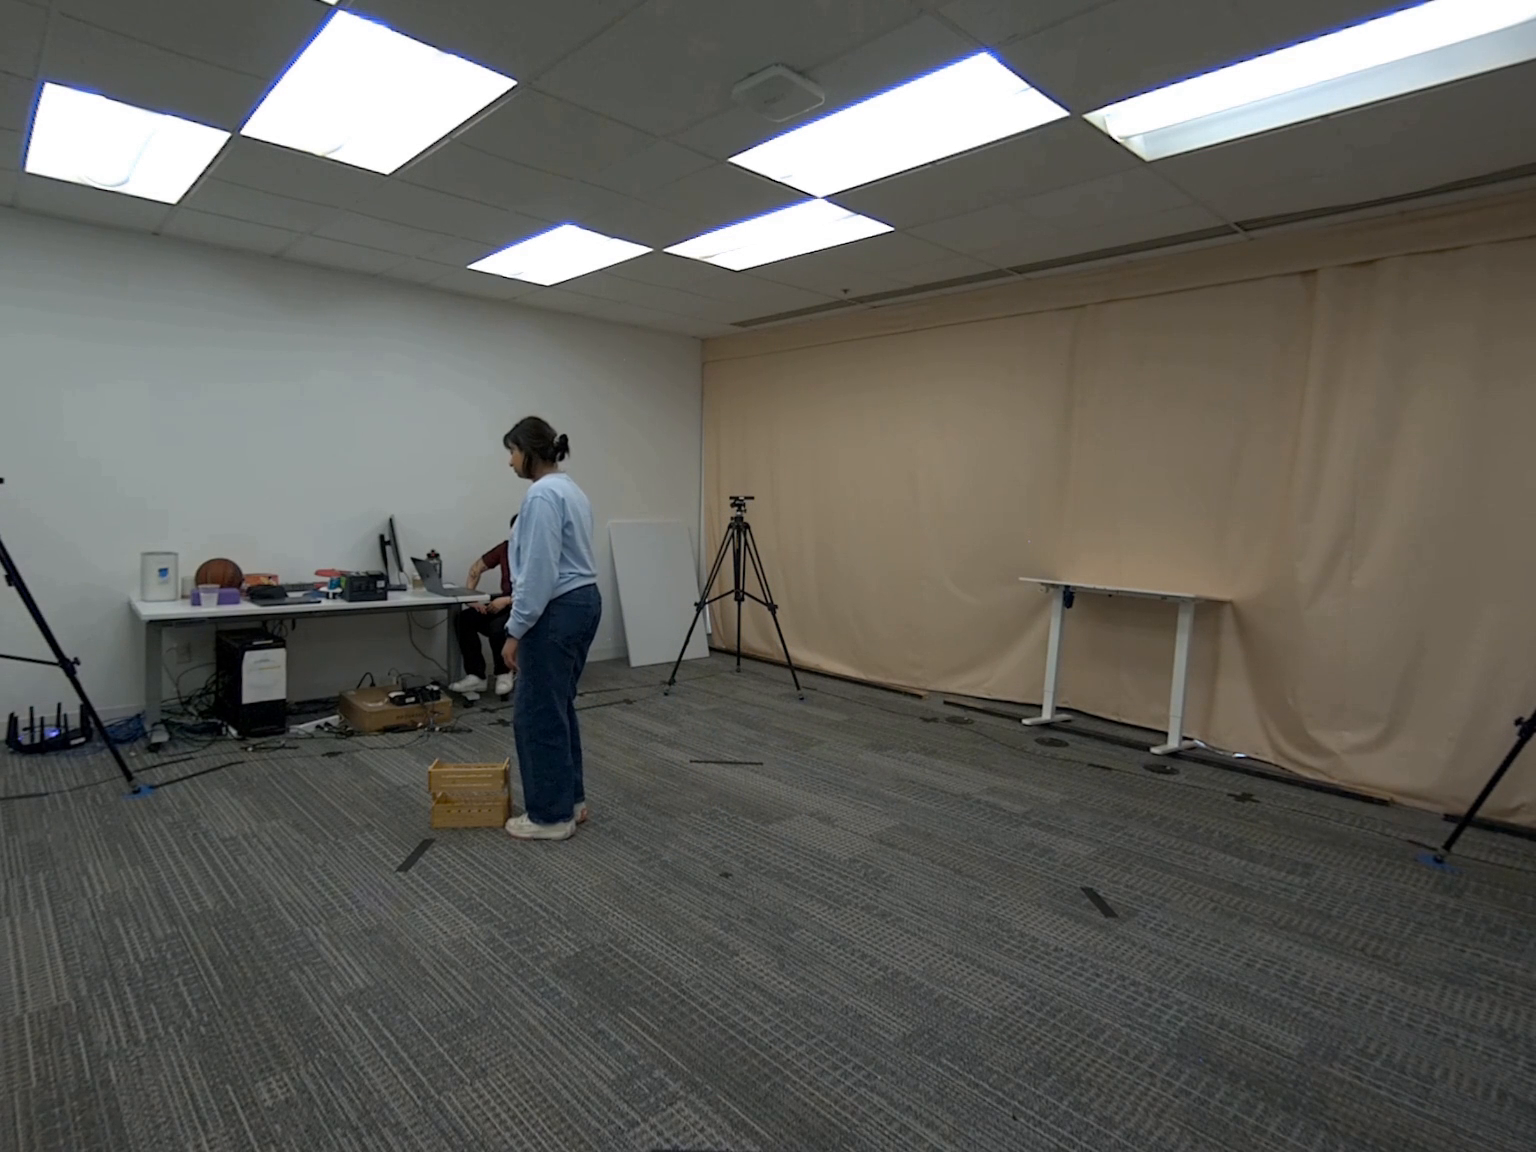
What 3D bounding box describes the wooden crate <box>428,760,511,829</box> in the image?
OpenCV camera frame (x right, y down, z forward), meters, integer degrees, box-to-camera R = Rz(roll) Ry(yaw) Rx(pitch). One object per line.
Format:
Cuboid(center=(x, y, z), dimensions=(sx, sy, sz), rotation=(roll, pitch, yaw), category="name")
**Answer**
Cuboid(center=(-1.263, 0.898, 3.597), dimensions=(0.322, 0.272, 0.305), rotation=(1, 5, -7), category="wooden crate")
